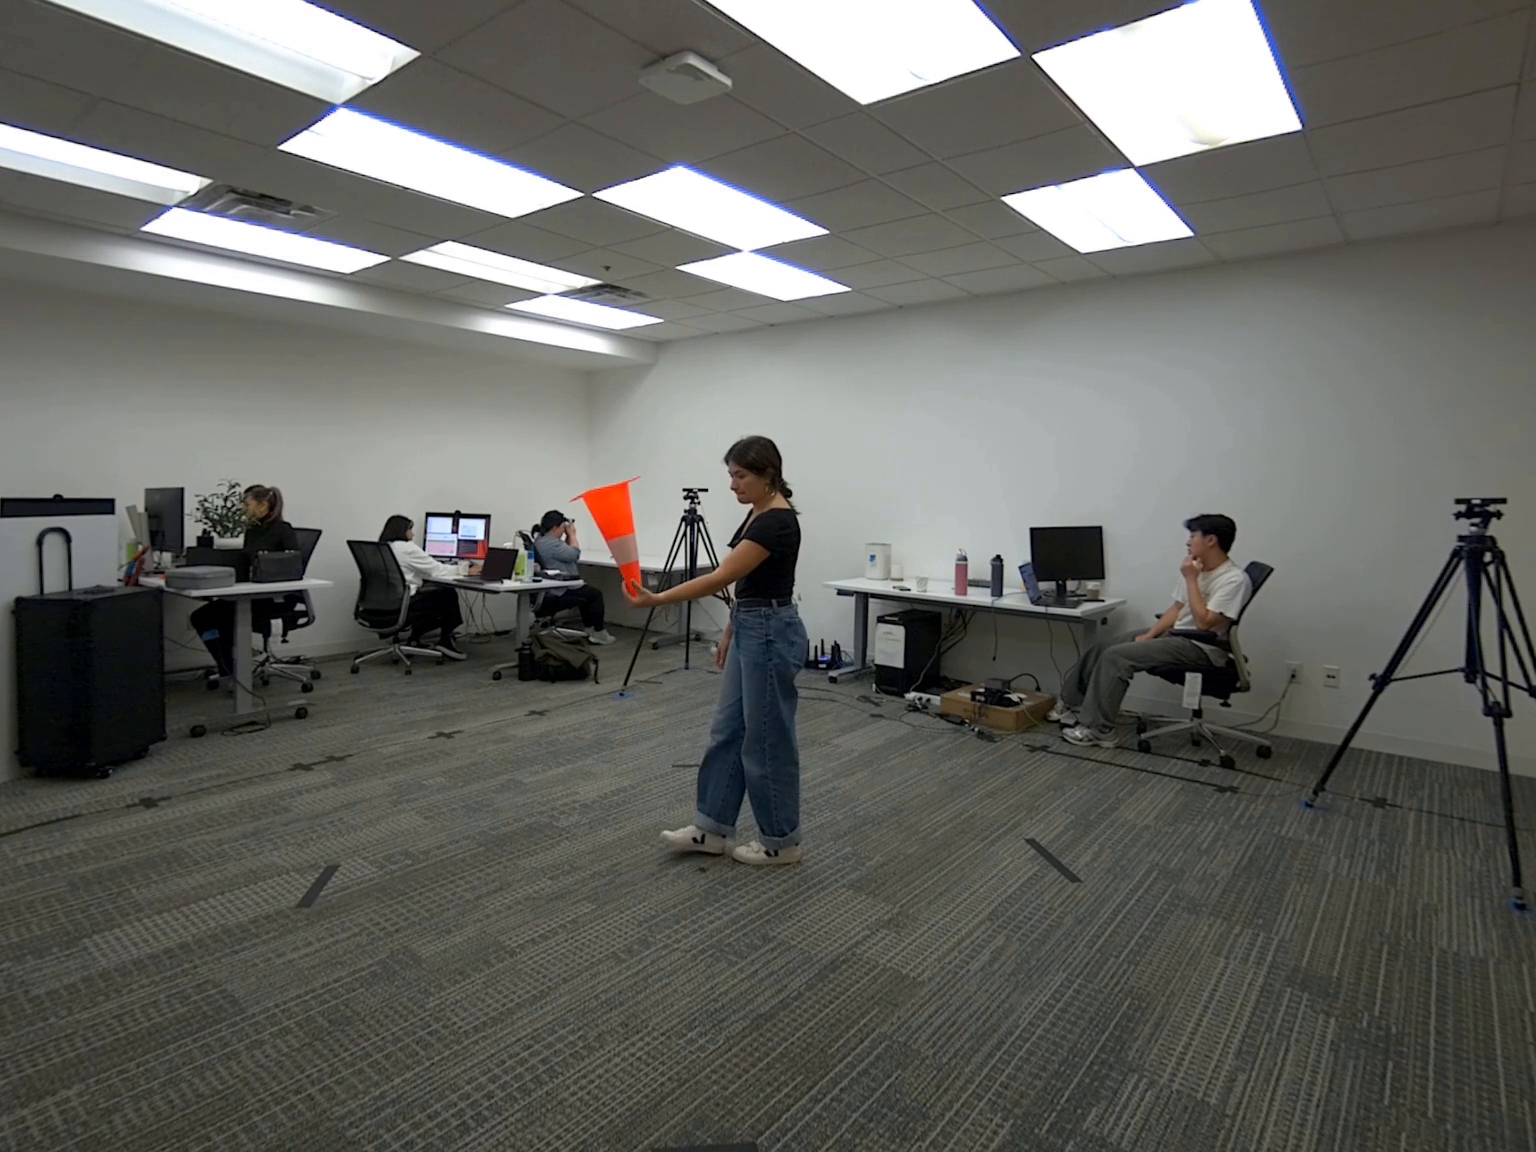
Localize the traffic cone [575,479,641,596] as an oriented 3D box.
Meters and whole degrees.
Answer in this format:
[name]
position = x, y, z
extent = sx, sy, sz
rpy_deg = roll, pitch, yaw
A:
[traffic cone]
position = -0.488, -0.109, 2.805
extent = 0.200, 0.382, 0.209
rpy_deg = -18, 4, -27
